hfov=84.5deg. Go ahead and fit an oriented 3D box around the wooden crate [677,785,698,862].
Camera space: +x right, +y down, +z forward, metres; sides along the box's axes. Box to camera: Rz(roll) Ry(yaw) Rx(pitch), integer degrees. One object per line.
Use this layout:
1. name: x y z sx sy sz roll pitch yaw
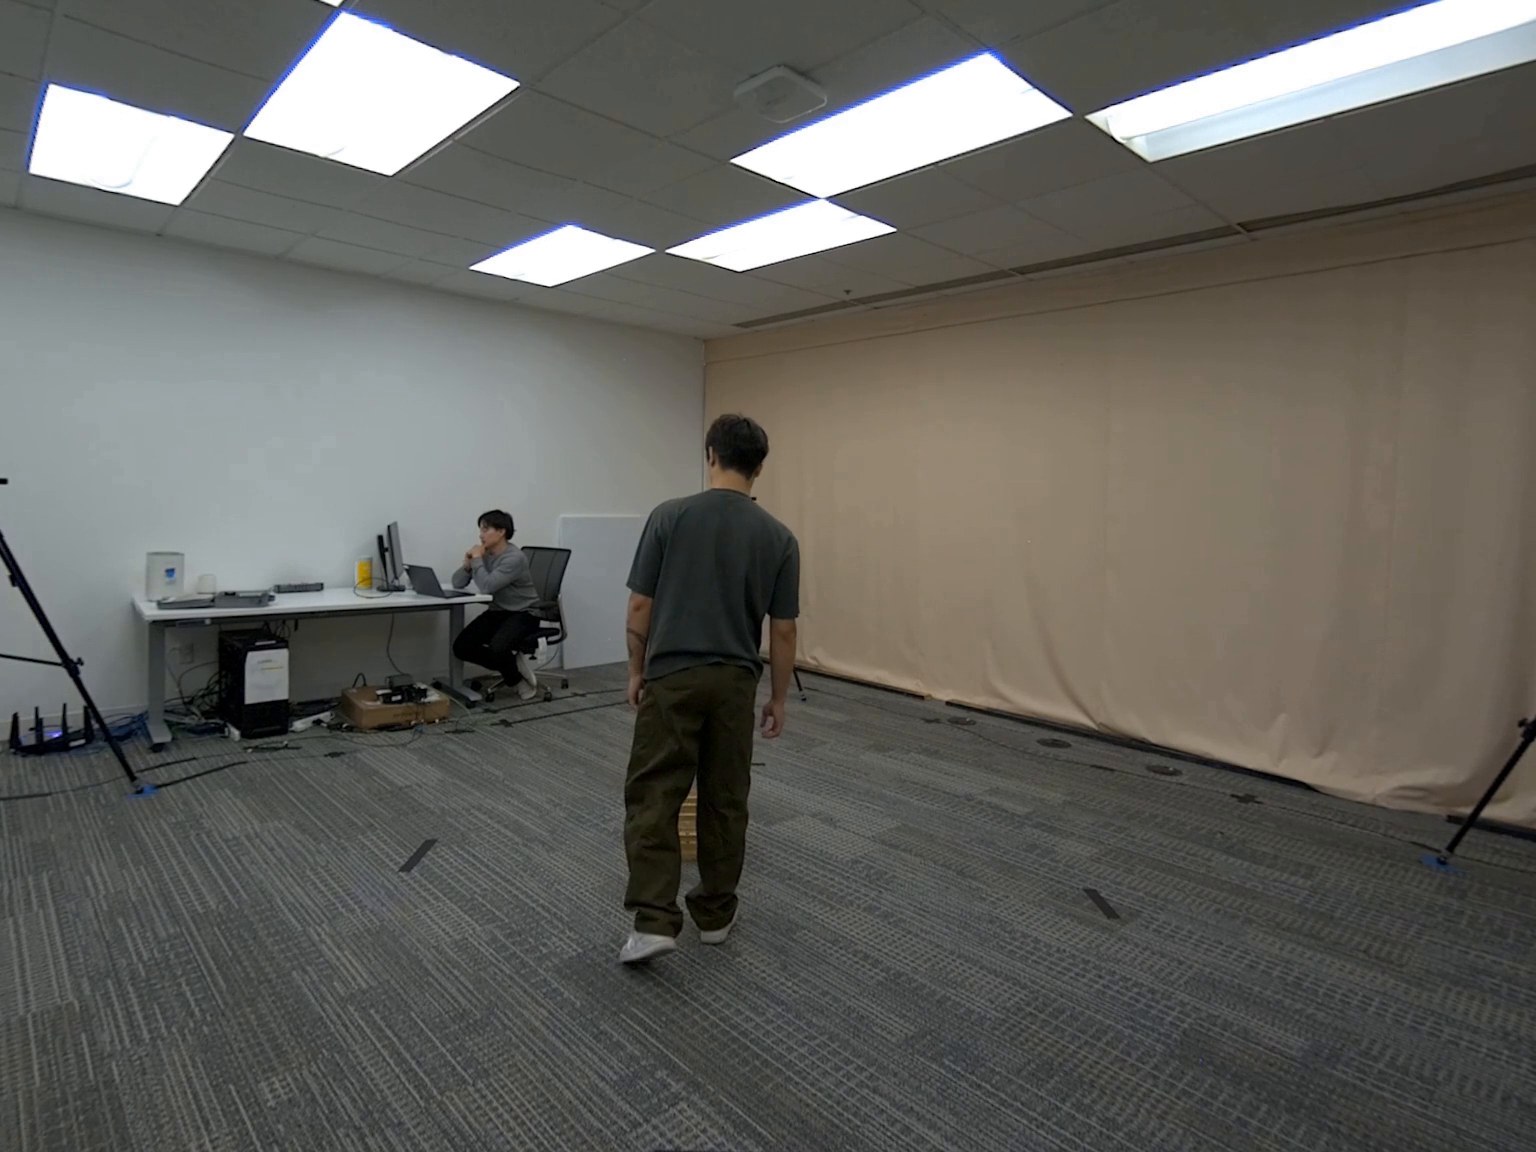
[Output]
1. wooden crate: -0.297 0.951 3.331 0.323 0.272 0.304 1 4 -6
